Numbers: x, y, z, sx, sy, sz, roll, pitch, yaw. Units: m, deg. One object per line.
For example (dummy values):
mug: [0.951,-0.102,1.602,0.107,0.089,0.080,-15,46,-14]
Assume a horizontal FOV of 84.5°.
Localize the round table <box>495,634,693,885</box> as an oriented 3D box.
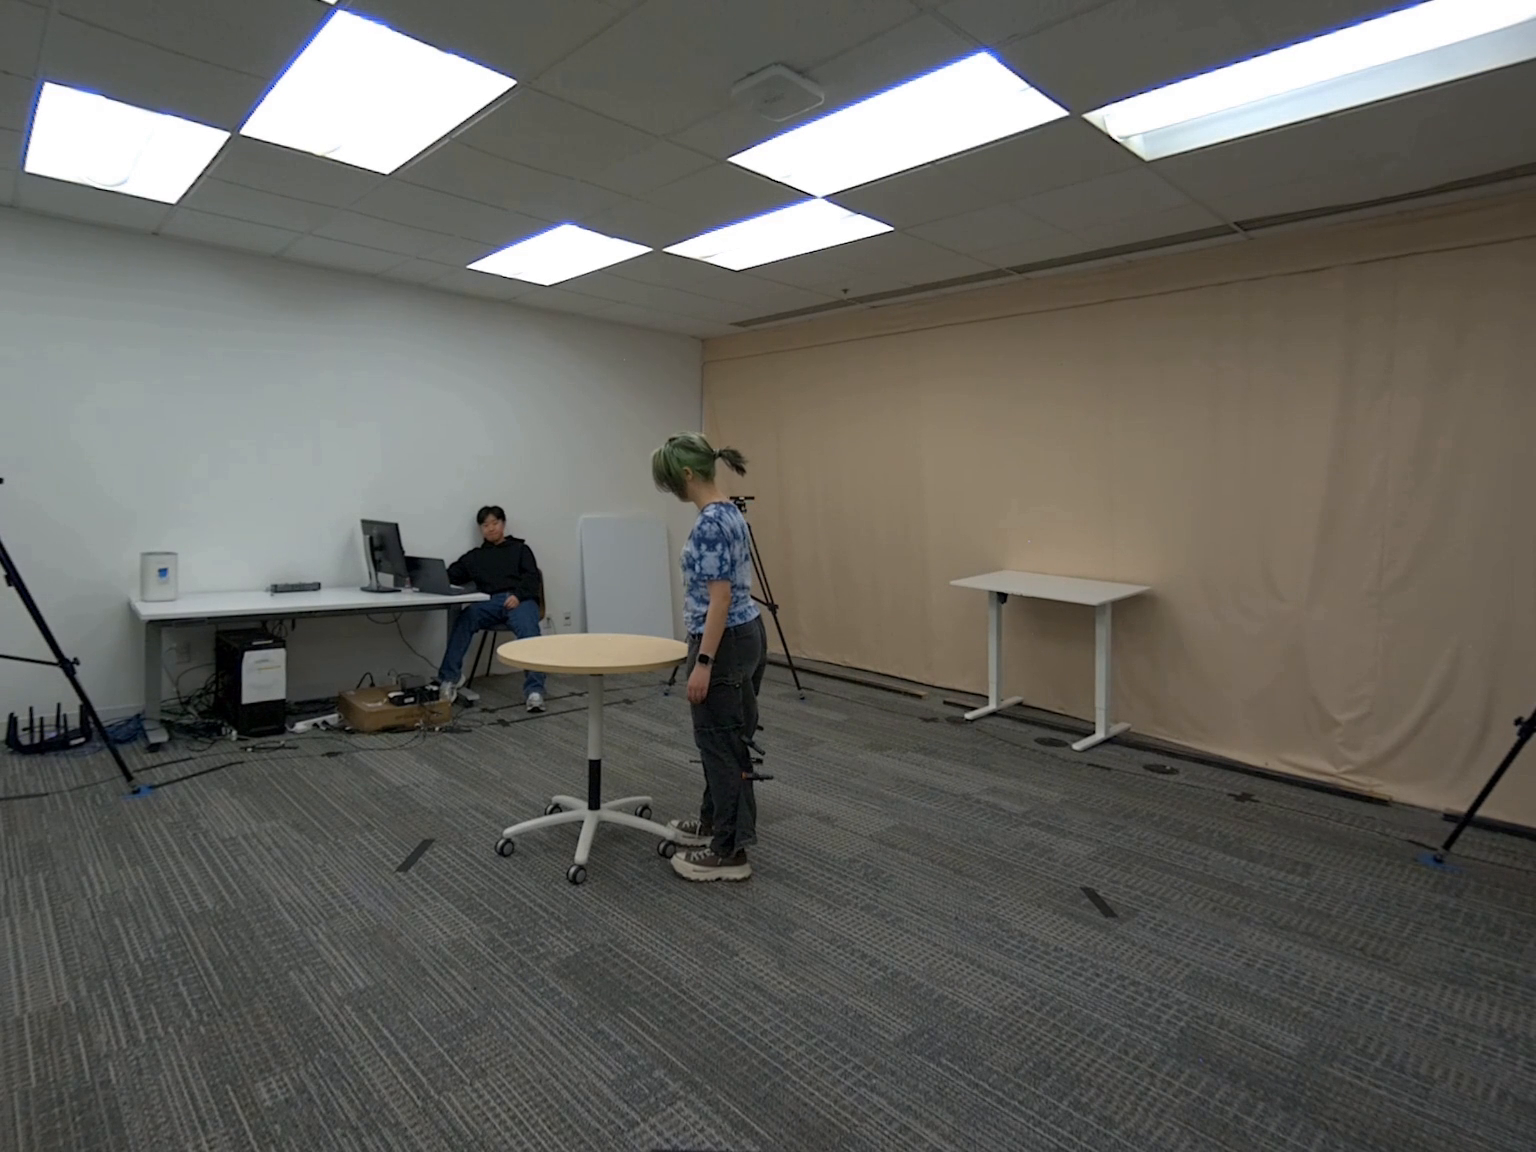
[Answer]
round table: [-0.678,0.673,3.350,0.784,0.784,0.788,2,4,-1]
